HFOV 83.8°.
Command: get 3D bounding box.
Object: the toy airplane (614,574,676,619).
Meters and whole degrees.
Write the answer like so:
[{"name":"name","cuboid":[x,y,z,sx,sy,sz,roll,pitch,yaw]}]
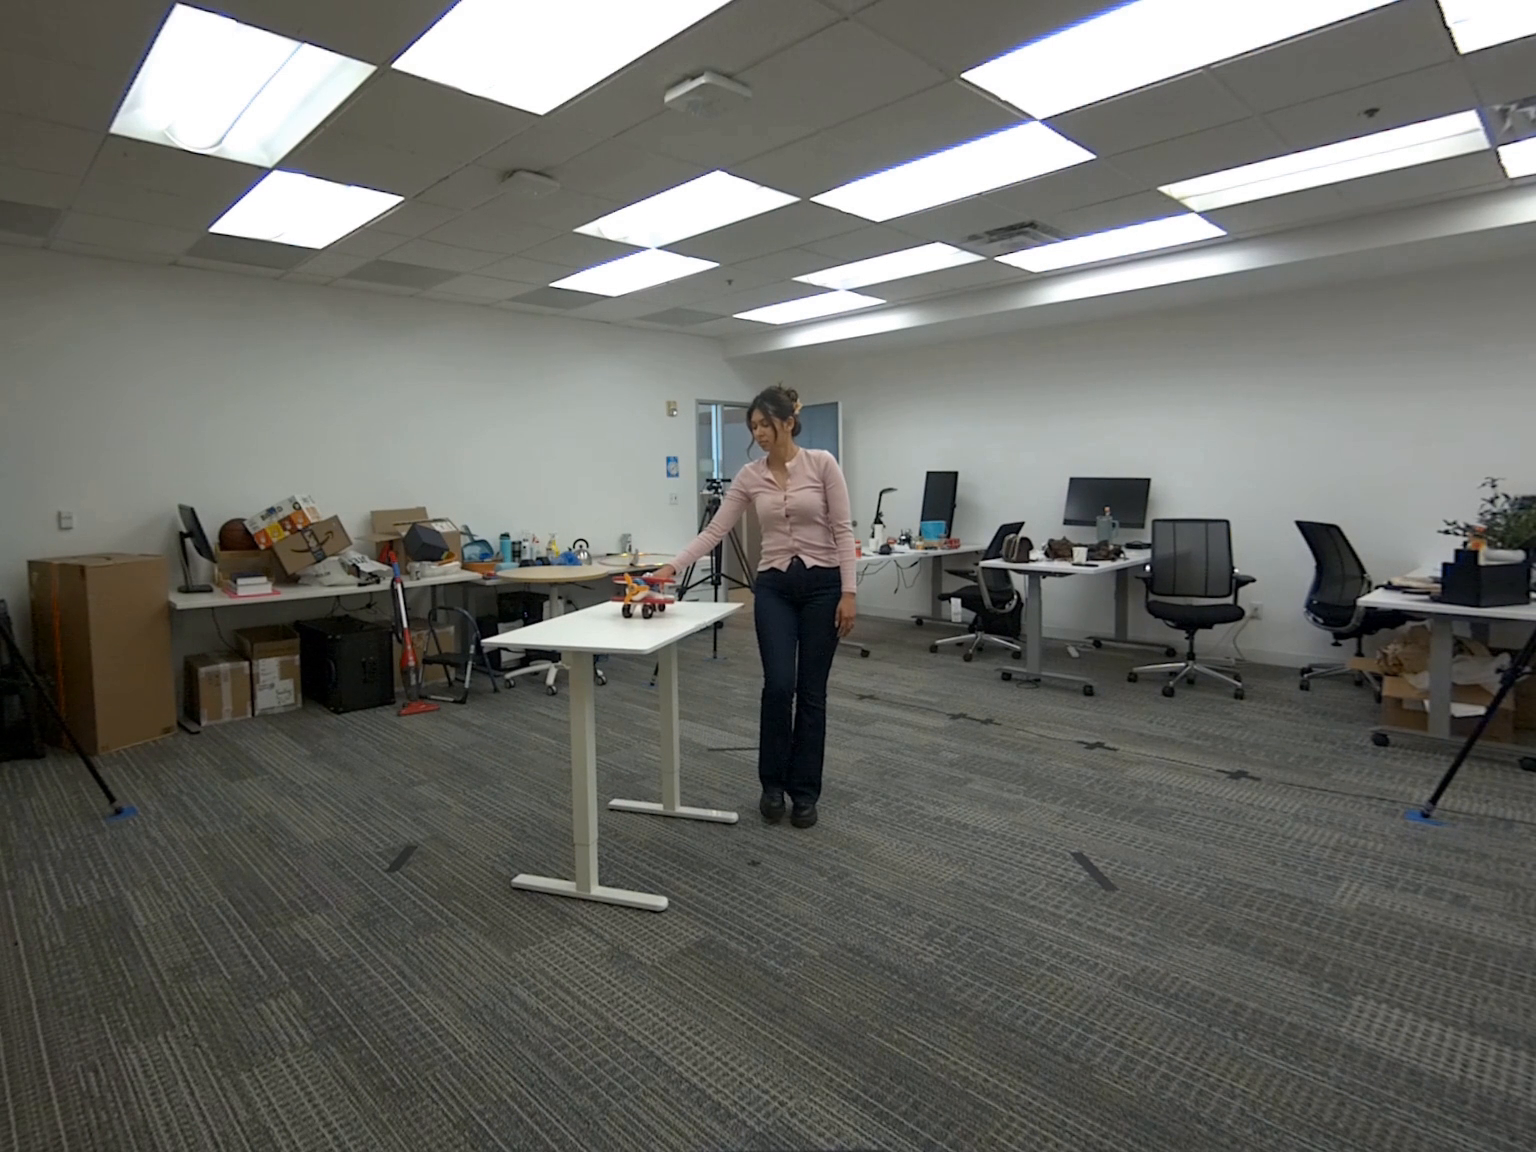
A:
[{"name":"toy airplane","cuboid":[-0.485,0.074,3.302,0.249,0.156,0.262,-2,6,-8]}]
